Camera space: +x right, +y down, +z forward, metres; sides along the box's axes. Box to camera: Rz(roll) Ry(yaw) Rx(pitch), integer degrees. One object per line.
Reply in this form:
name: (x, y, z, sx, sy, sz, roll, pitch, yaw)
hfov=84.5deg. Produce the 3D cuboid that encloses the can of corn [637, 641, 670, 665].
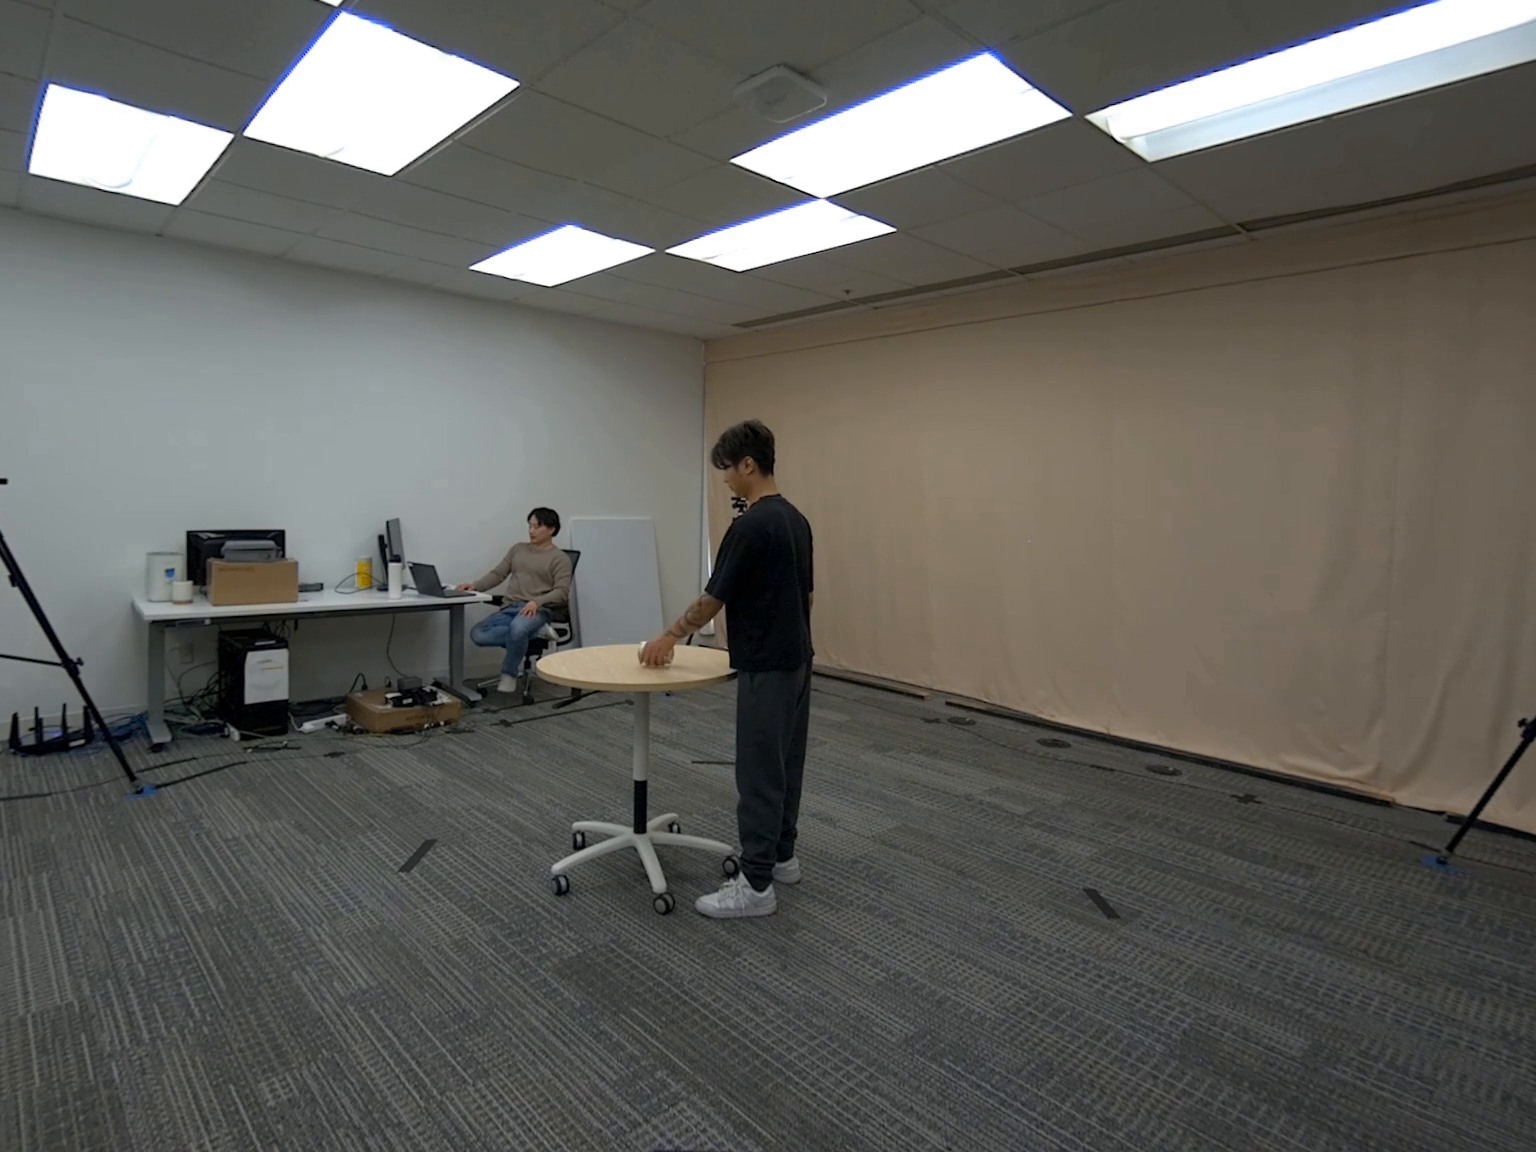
can of corn: (-0.394, 0.272, 2.994, 0.111, 0.074, 0.074, 3, 4, 4)
